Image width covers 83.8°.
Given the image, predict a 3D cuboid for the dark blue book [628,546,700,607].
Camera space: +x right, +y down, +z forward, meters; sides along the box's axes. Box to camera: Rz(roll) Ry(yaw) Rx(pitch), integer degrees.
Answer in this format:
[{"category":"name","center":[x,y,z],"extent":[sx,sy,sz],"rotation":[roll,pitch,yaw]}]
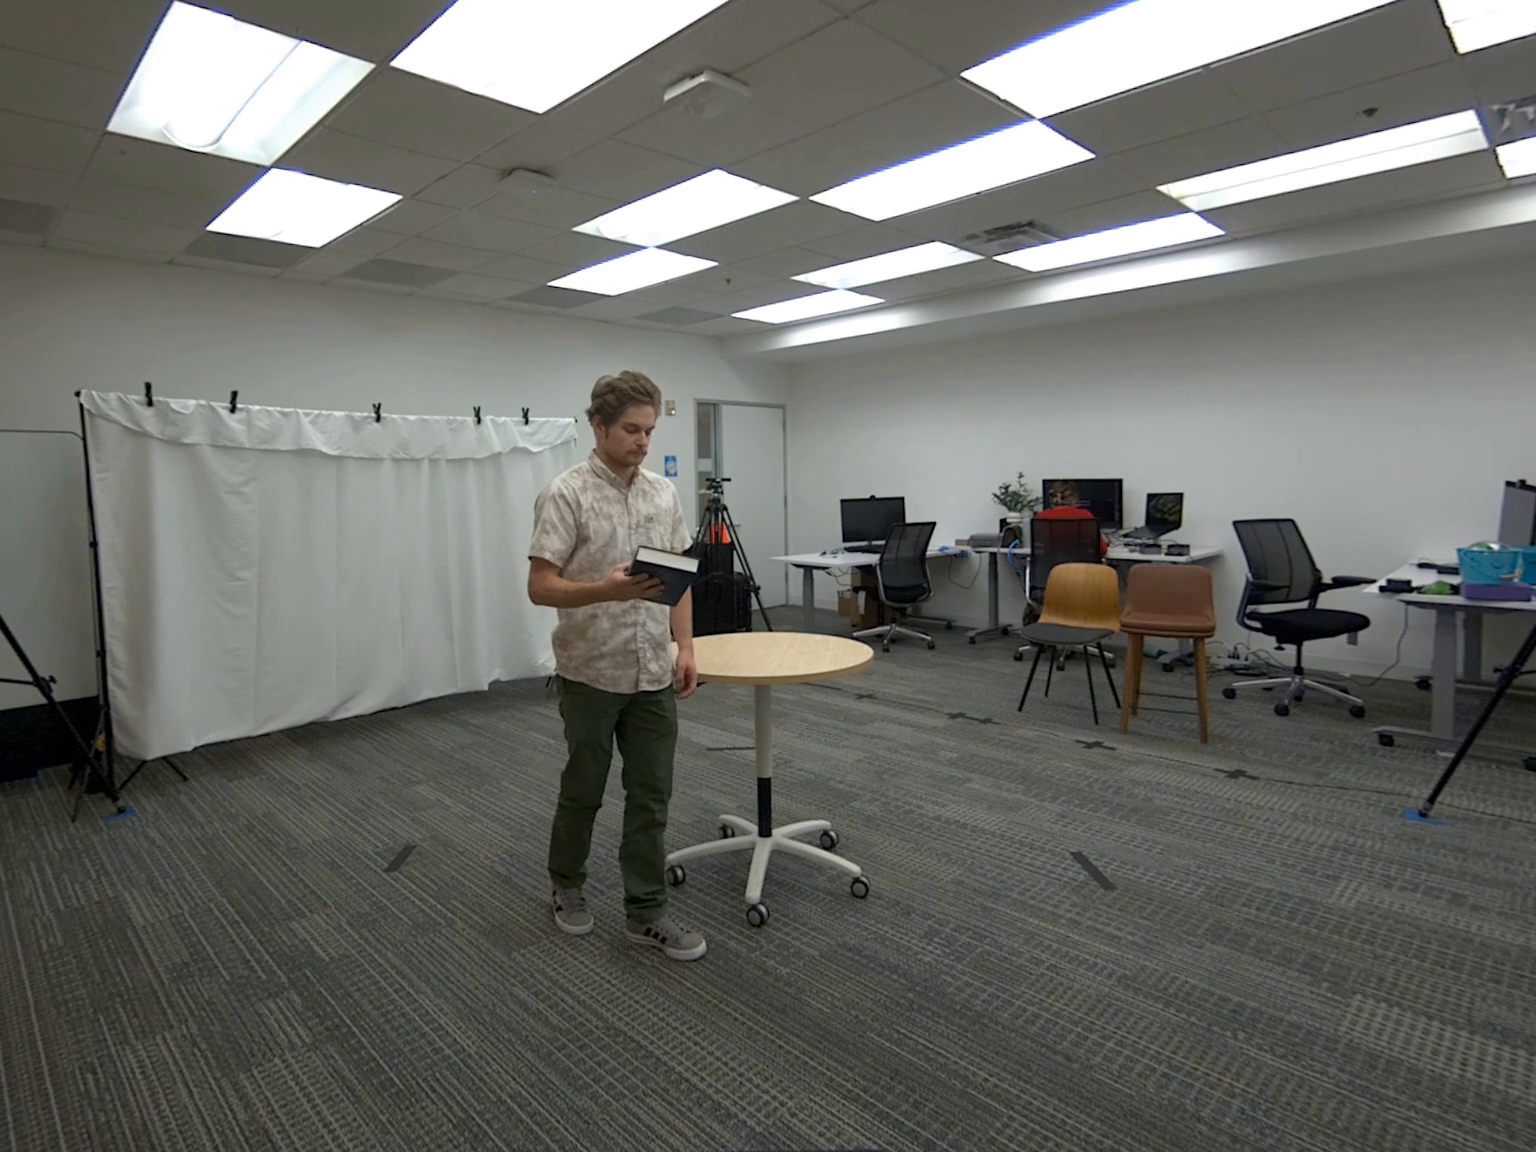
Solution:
[{"category":"dark blue book","center":[-0.291,0.005,2.232],"extent":[0.161,0.046,0.244],"rotation":[12,-25,-13]}]
